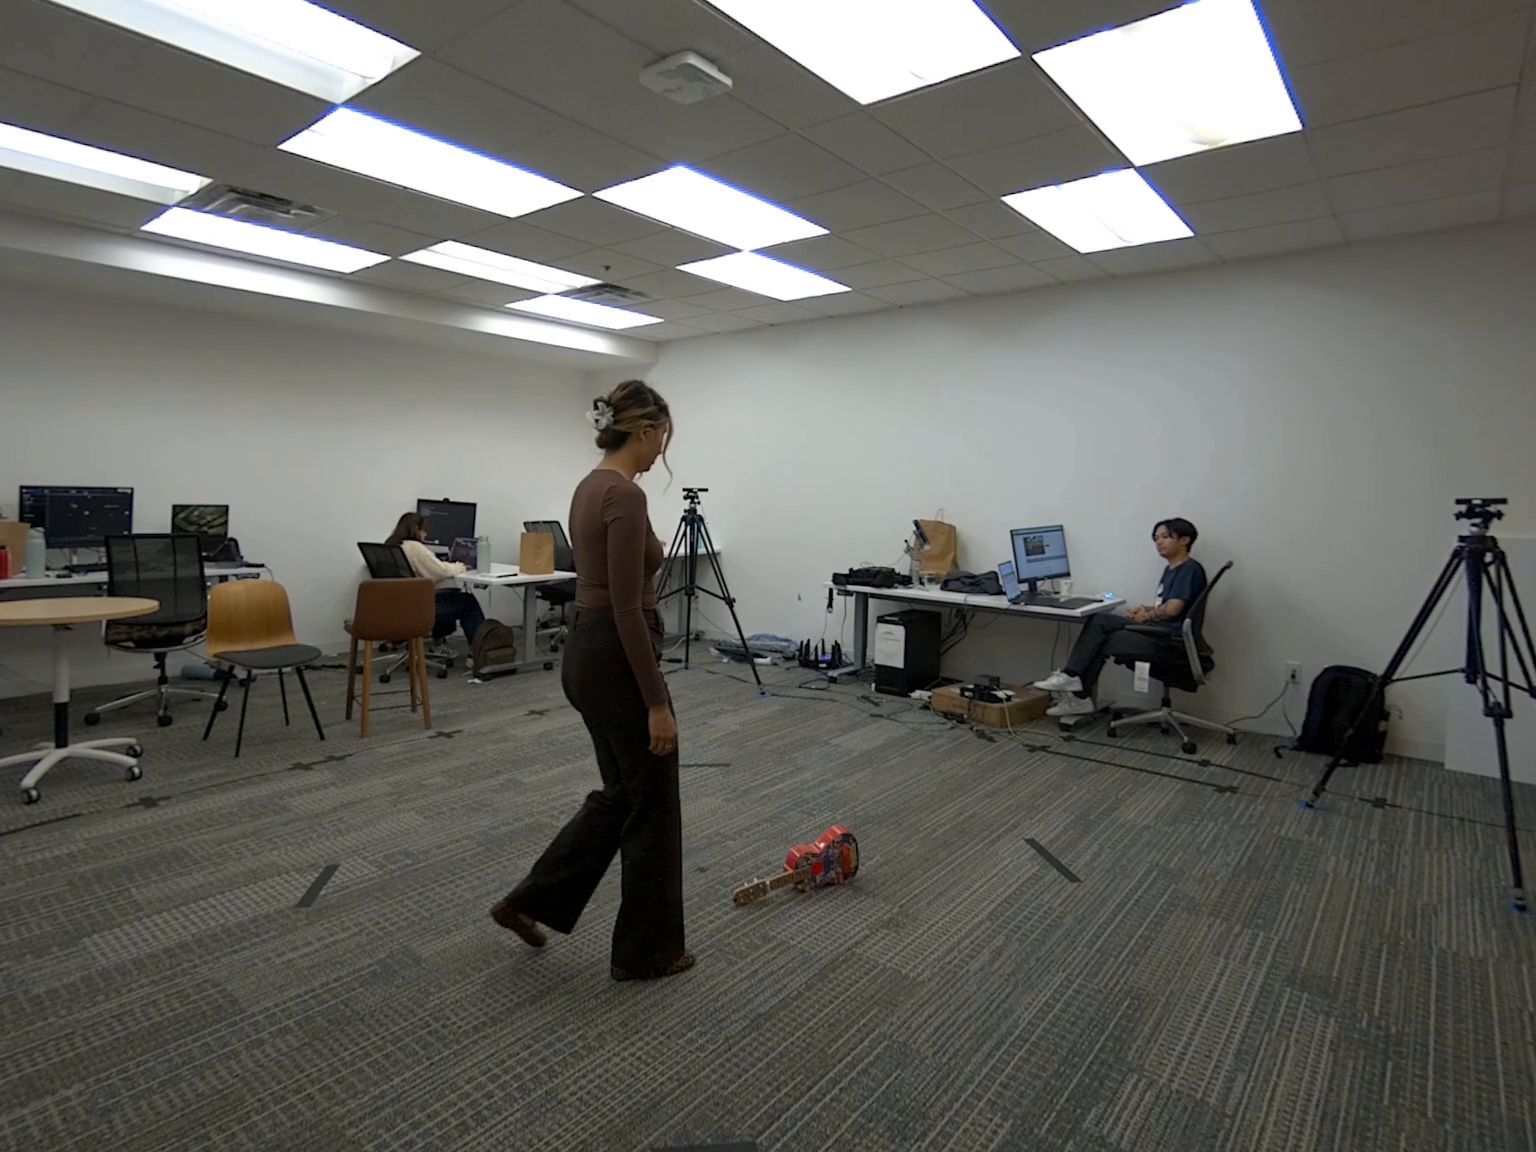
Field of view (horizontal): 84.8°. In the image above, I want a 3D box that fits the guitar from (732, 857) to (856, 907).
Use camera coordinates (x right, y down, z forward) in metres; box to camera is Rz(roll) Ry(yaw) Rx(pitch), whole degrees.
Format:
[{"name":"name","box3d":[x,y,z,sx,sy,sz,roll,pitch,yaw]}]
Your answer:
[{"name":"guitar","box3d":[0.091,0.995,2.947,0.486,0.192,0.073,-2,7,-25]}]
